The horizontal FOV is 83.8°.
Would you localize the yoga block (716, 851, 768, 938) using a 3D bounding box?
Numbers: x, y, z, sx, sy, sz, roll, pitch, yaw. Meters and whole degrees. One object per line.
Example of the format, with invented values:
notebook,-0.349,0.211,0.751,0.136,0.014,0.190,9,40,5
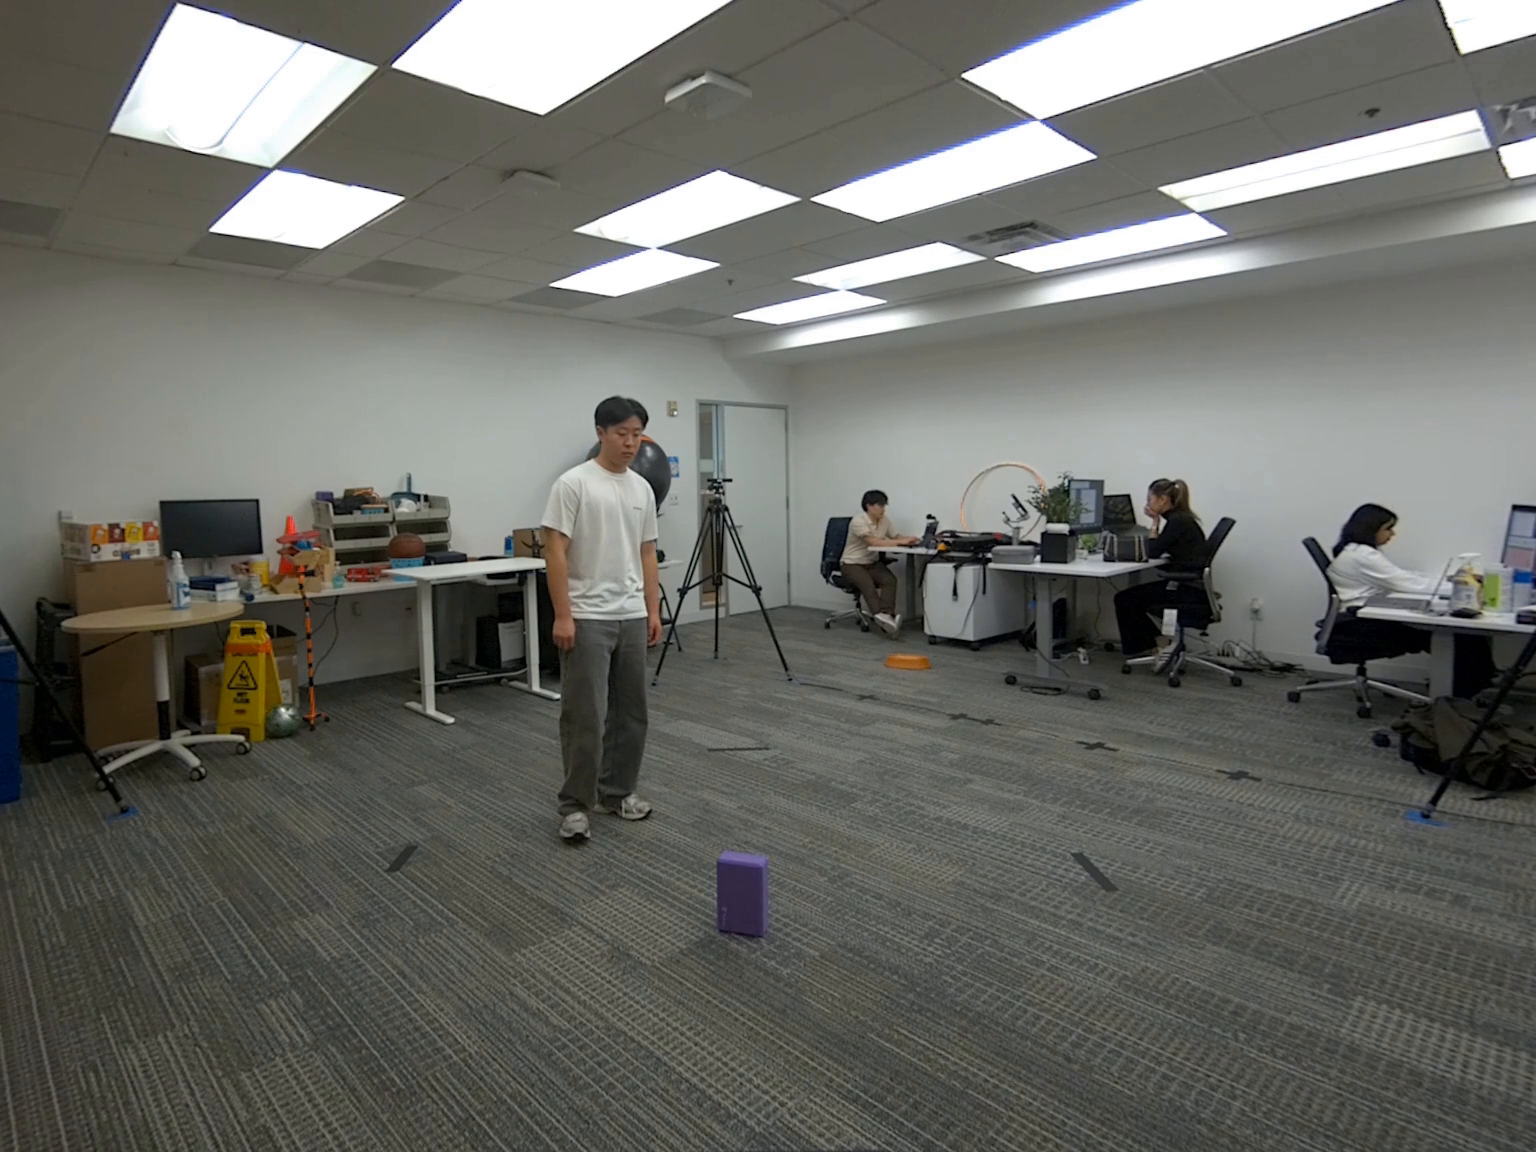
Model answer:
yoga block,-0.072,0.985,2.649,0.151,0.228,0.075,1,4,17
